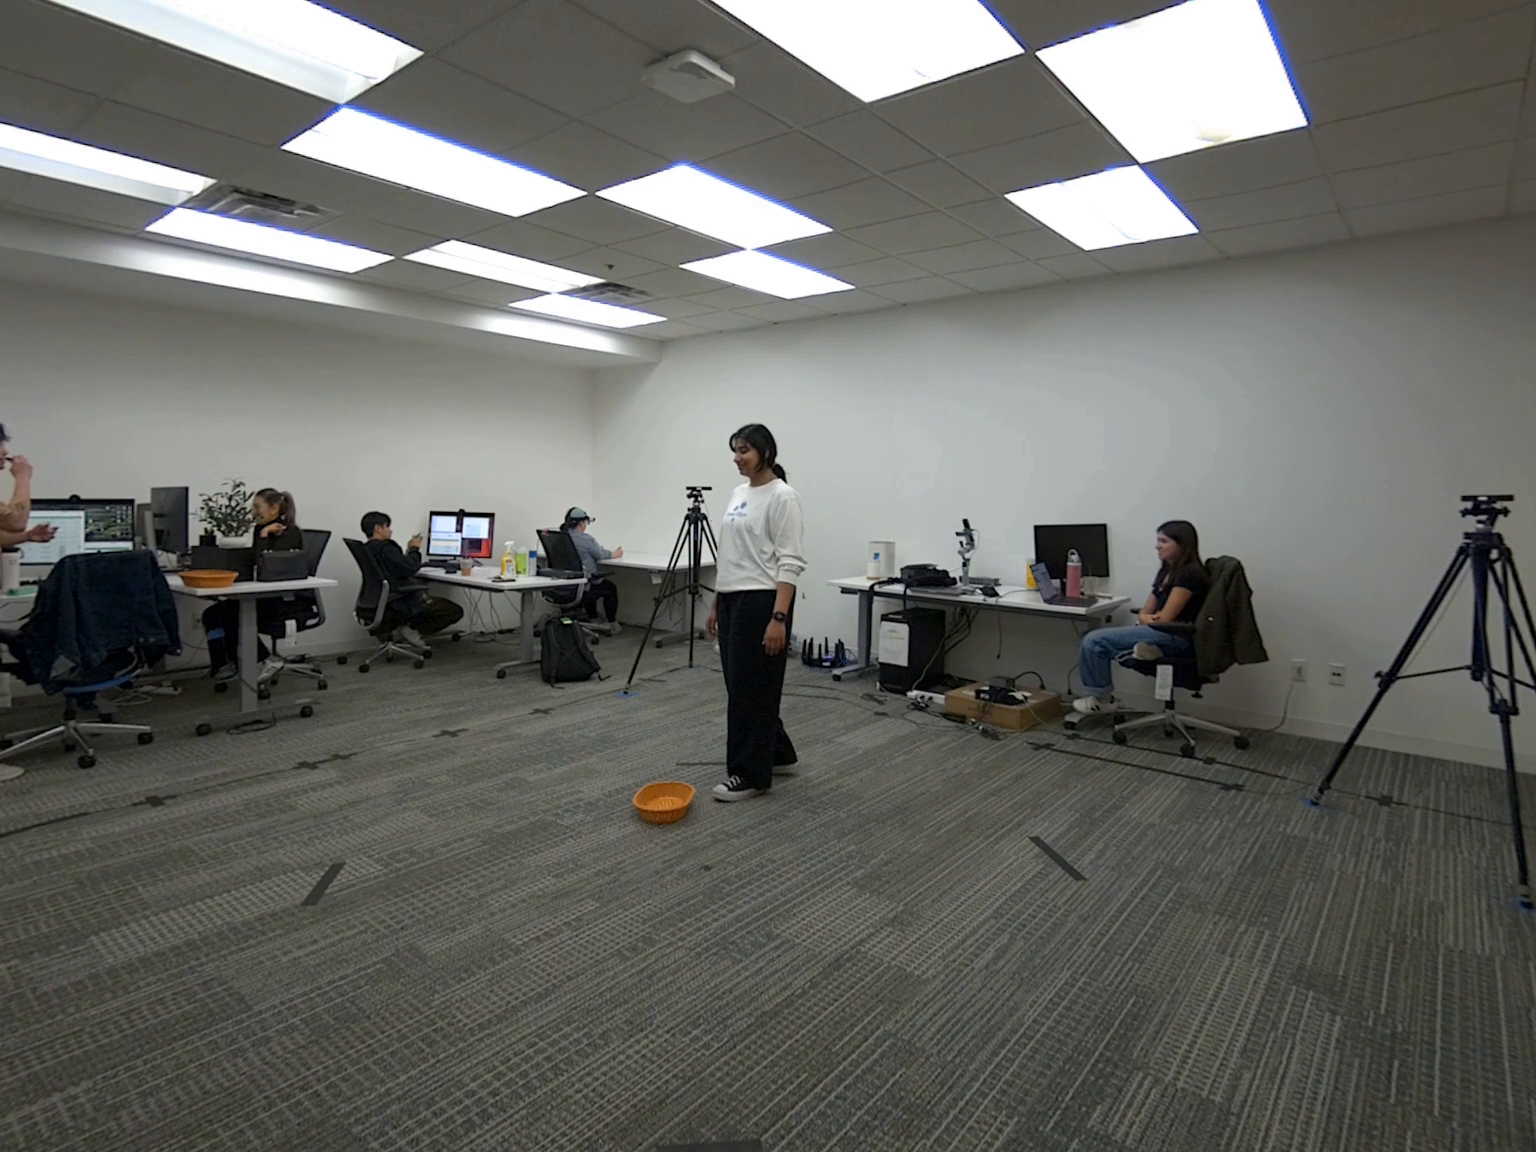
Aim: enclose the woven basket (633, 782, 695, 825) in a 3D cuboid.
[{"bbox_3d":[-0.447,0.971,3.646,0.256,0.073,0.347,1,6,12],"label":"woven basket"}]
